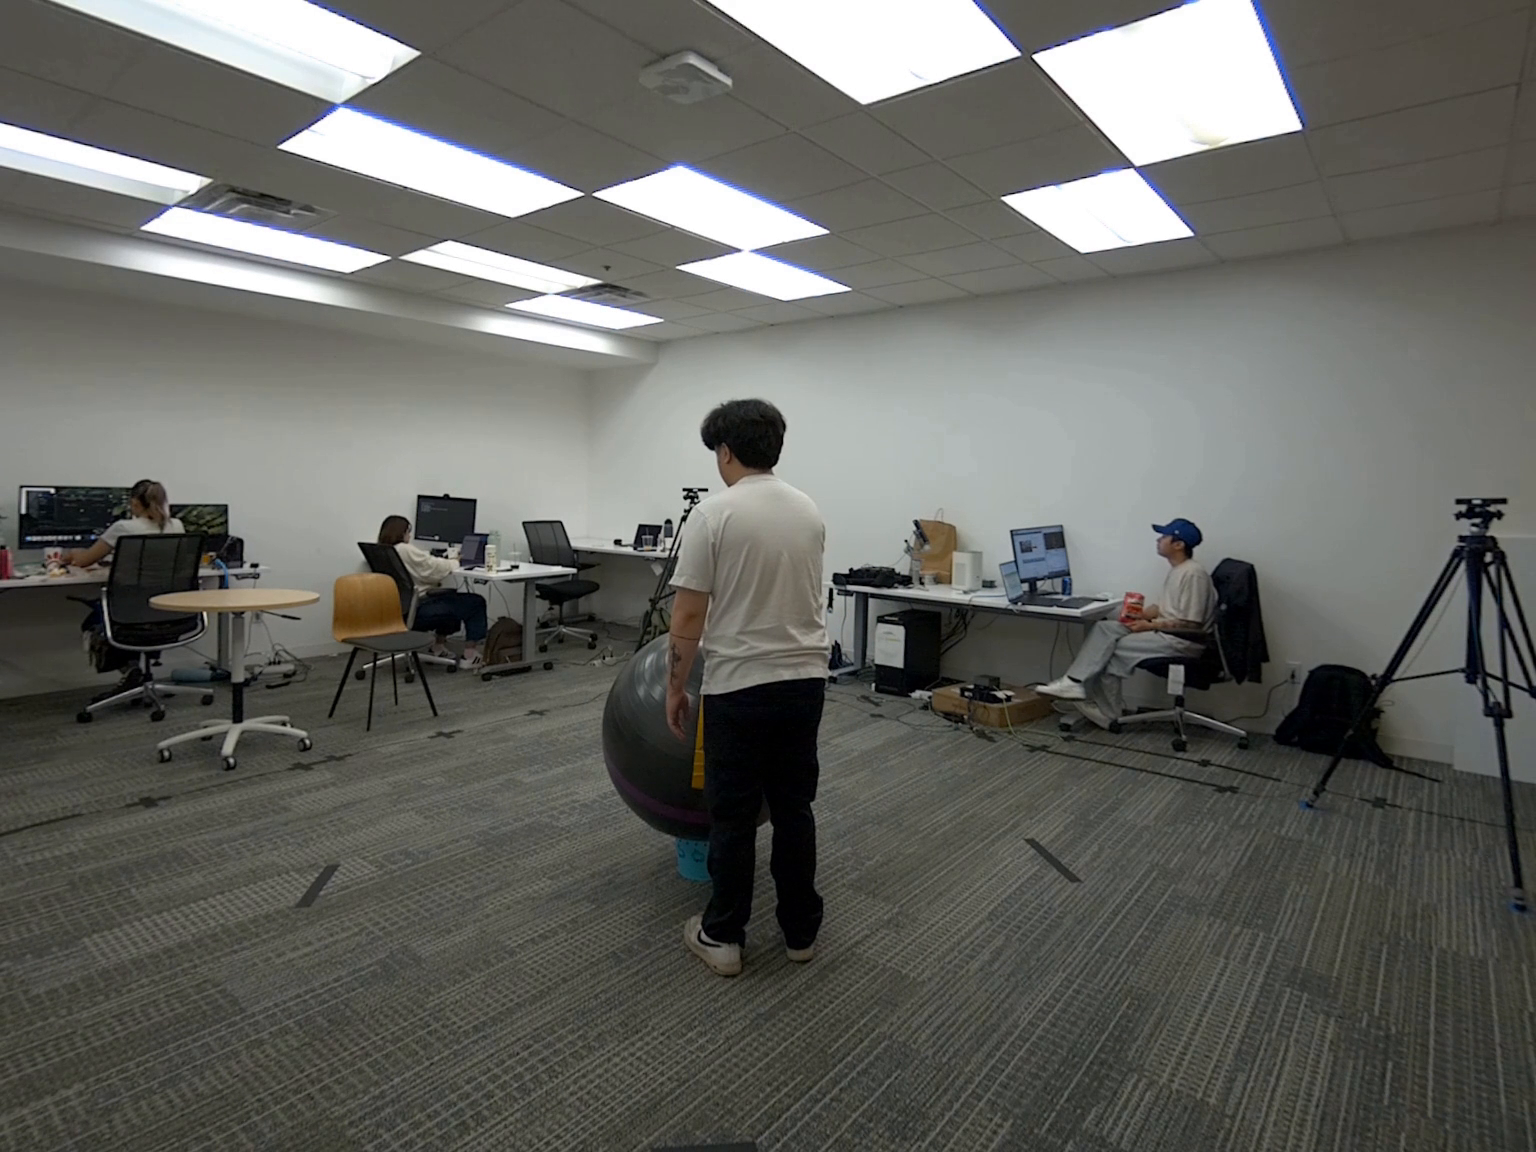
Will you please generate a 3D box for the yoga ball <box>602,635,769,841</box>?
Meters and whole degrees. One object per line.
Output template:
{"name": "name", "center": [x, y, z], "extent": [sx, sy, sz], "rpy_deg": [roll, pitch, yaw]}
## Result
{"name": "yoga ball", "center": [-0.229, 0.562, 3.090], "extent": [0.757, 0.756, 0.761], "rpy_deg": [1, 4, -2]}
